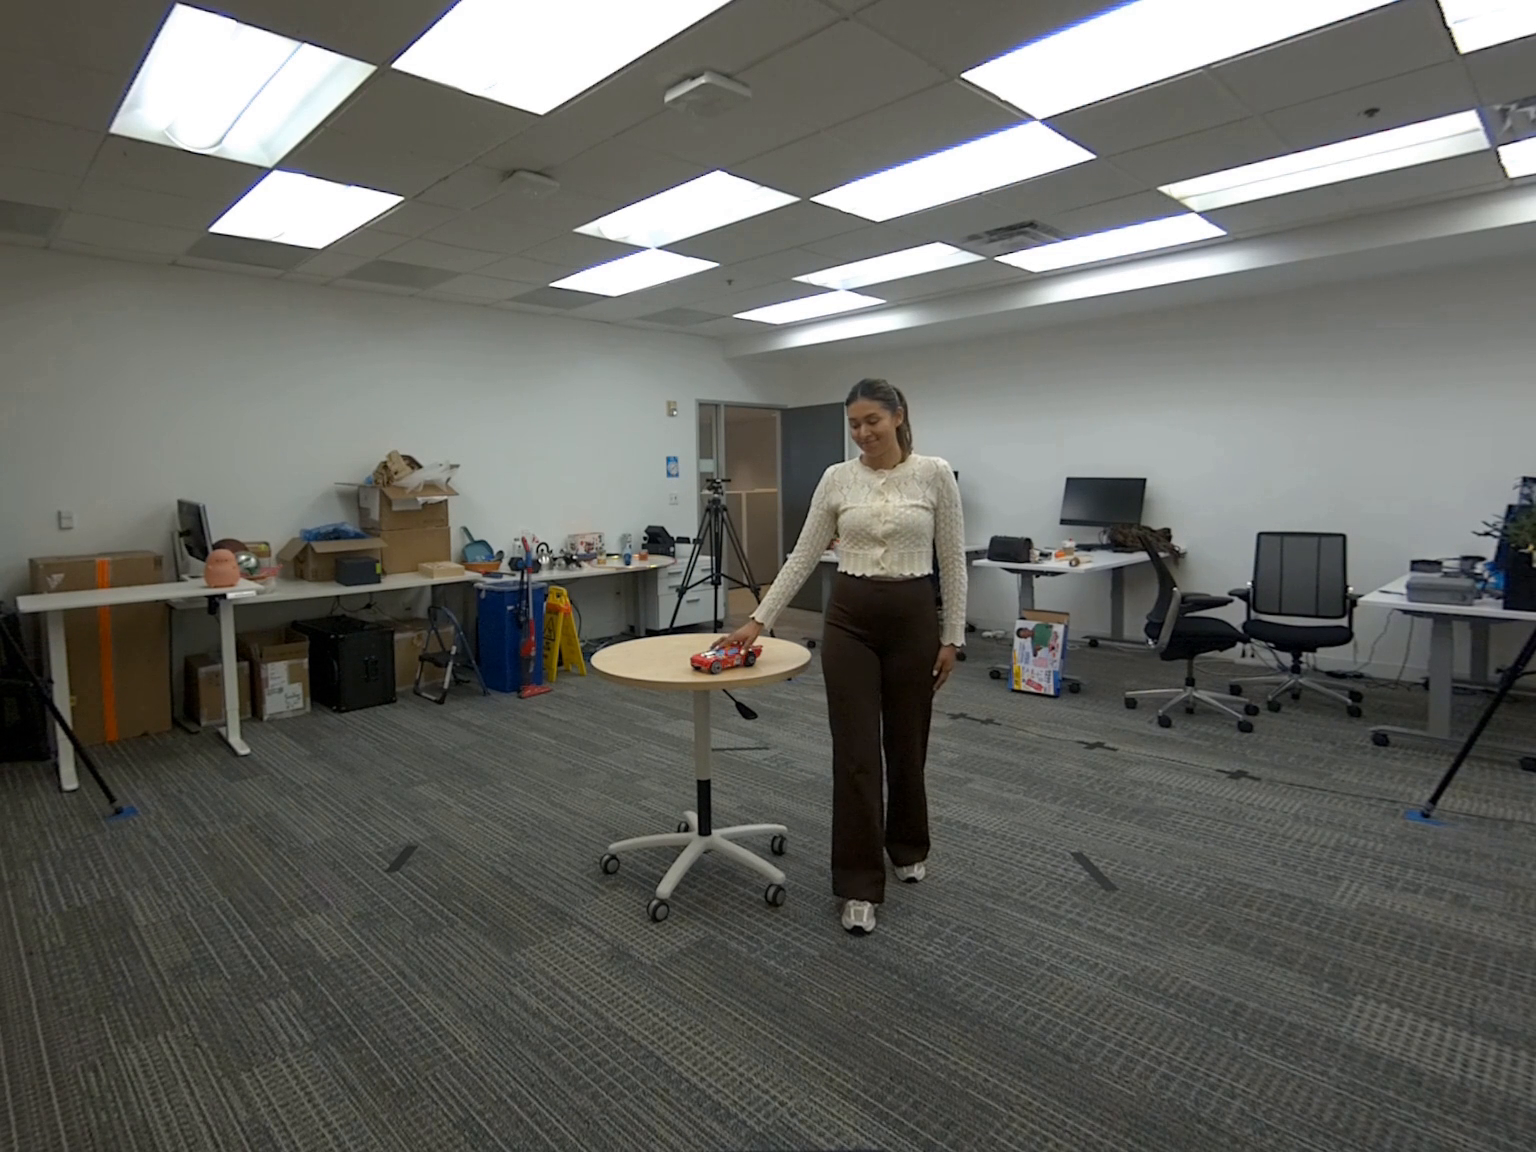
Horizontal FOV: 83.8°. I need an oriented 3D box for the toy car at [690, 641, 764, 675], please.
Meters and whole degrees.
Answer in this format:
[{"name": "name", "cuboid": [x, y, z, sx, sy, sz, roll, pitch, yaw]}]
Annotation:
[{"name": "toy car", "cuboid": [-0.121, 0.267, 2.796, 0.250, 0.082, 0.134, -21, 19, -38]}]
